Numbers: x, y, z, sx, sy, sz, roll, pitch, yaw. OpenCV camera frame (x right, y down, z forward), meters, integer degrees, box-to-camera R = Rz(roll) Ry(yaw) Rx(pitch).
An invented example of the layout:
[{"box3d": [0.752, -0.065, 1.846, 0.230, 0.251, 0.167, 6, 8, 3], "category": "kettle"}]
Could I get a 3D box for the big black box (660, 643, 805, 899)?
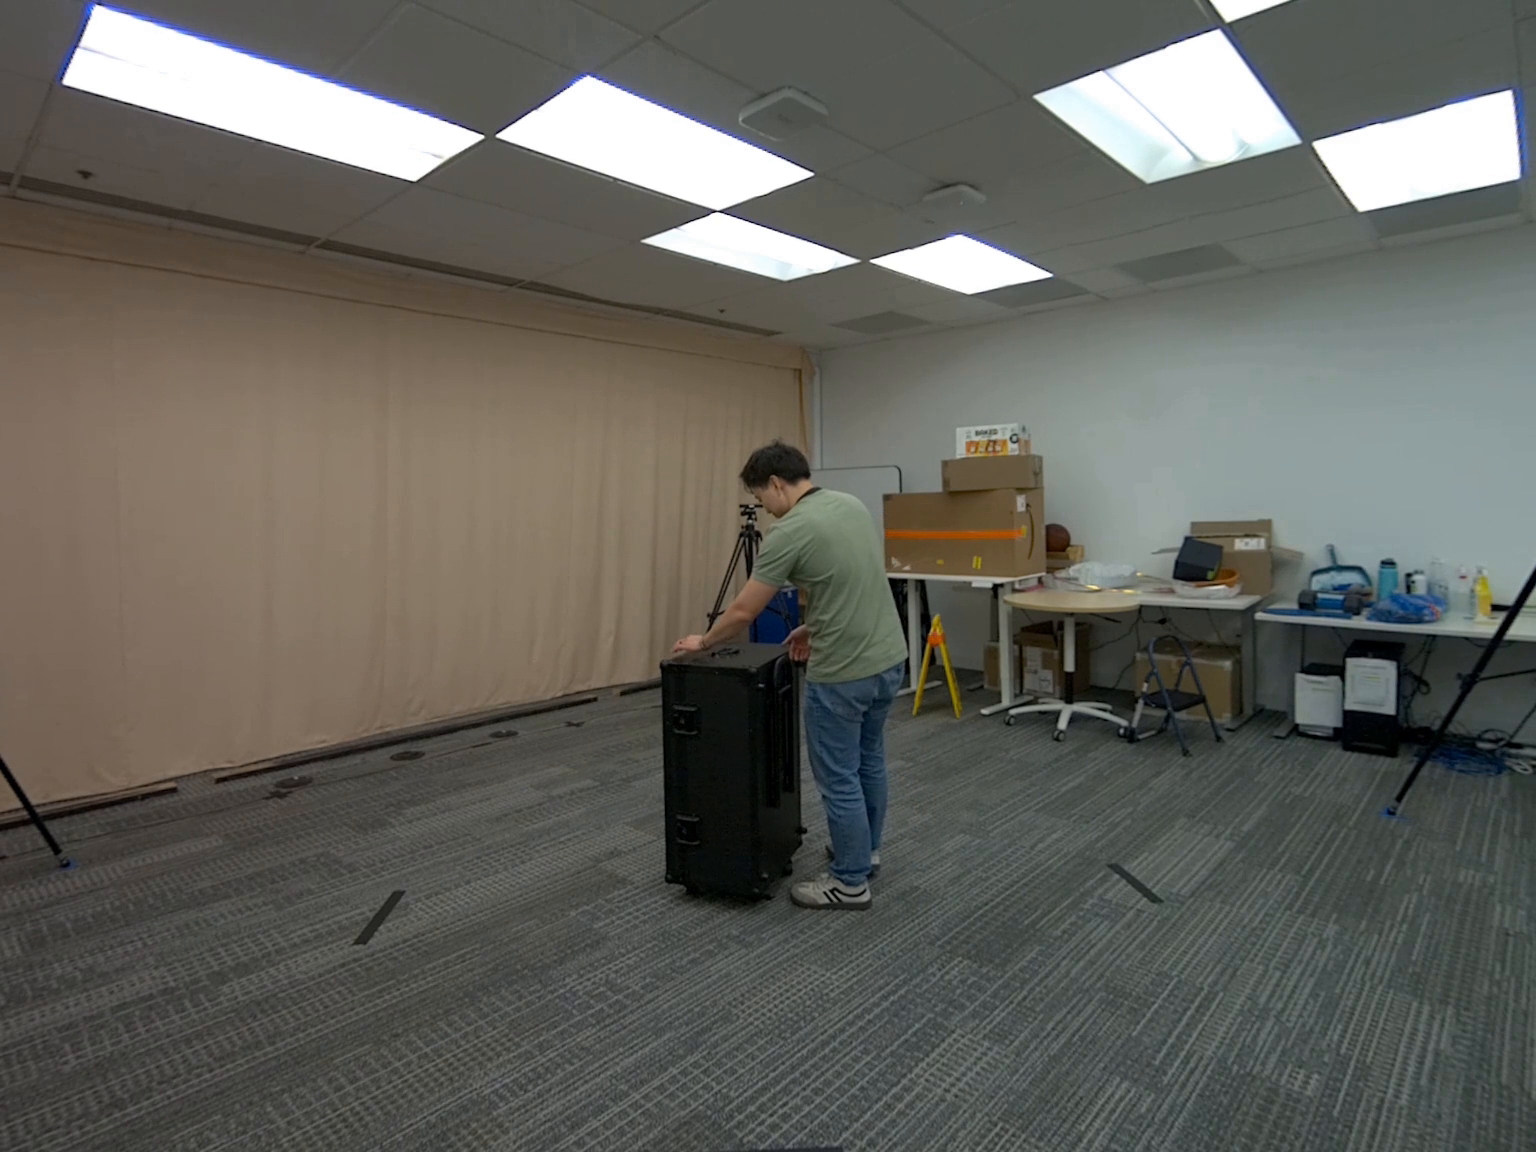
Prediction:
[{"box3d": [-0.108, 0.705, 3.096, 0.405, 0.859, 0.510, 1, 4, 21], "category": "big black box"}]
